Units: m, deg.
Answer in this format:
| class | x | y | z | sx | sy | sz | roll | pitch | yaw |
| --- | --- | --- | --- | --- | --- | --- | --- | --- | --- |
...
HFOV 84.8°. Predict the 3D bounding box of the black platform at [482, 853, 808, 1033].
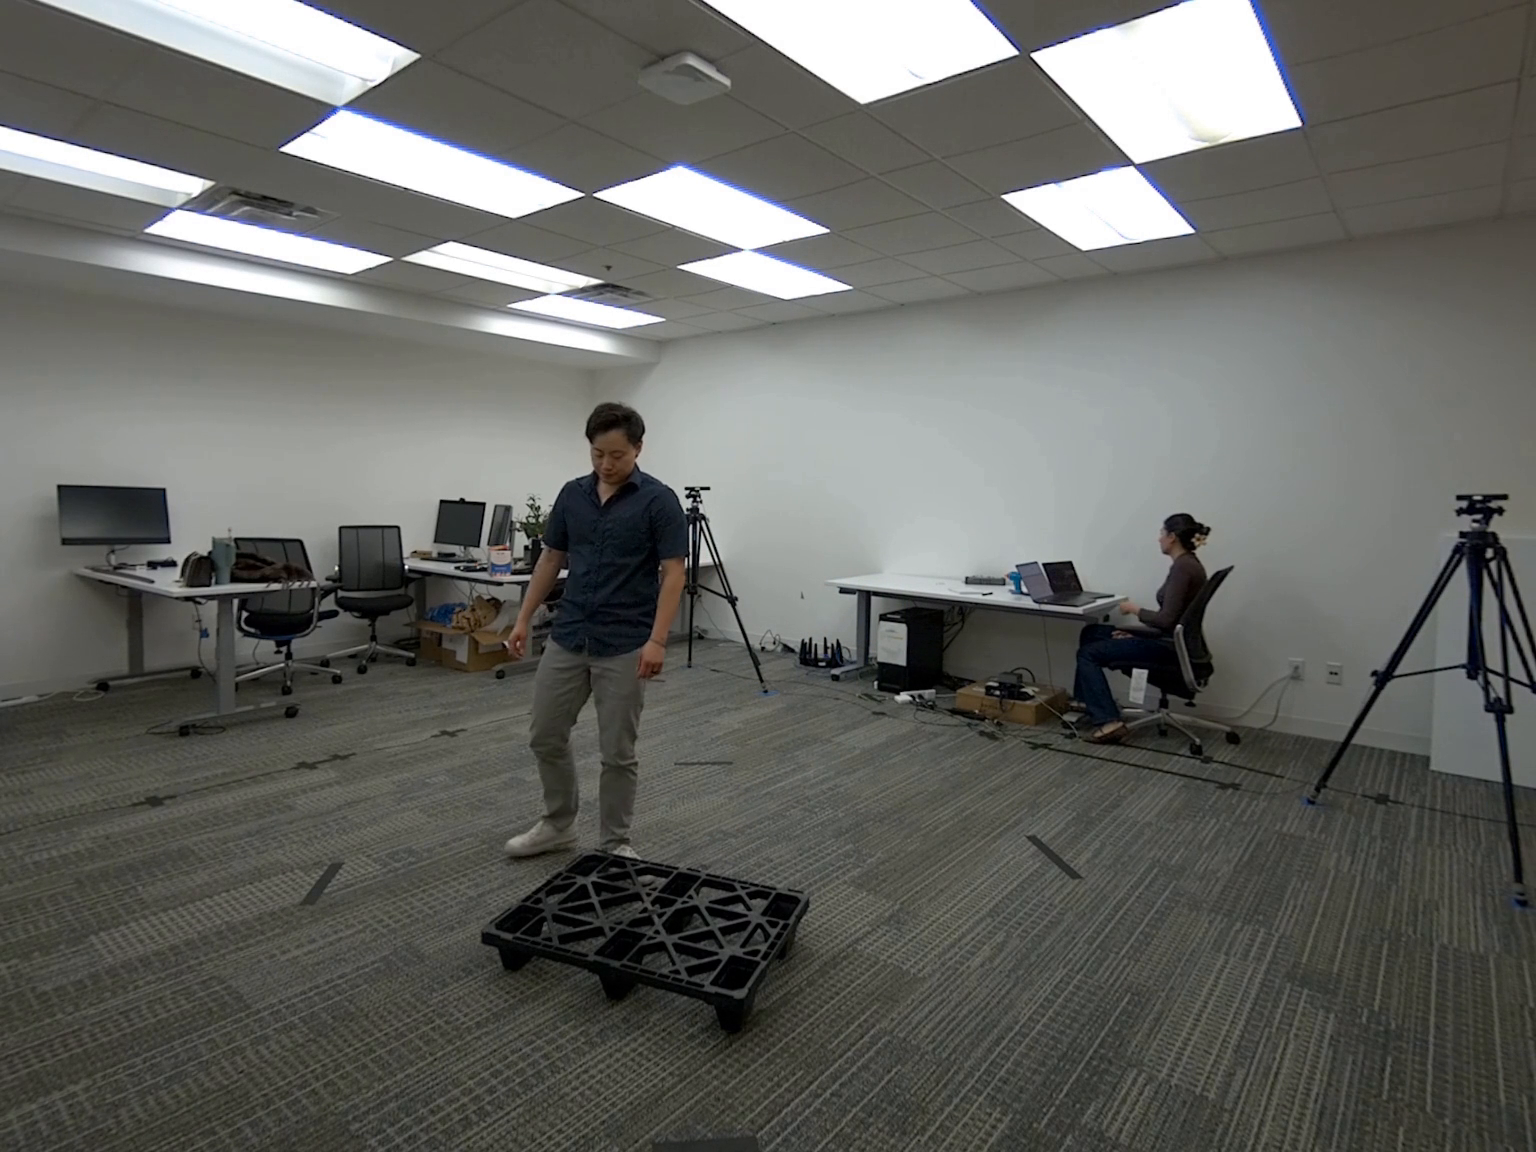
| class | x | y | z | sx | sy | sz | roll | pitch | yaw |
| --- | --- | --- | --- | --- | --- | --- | --- | --- | --- |
| black platform | -0.351 | 1.050 | 2.528 | 0.824 | 0.143 | 0.594 | 3 | 6 | 21 |
